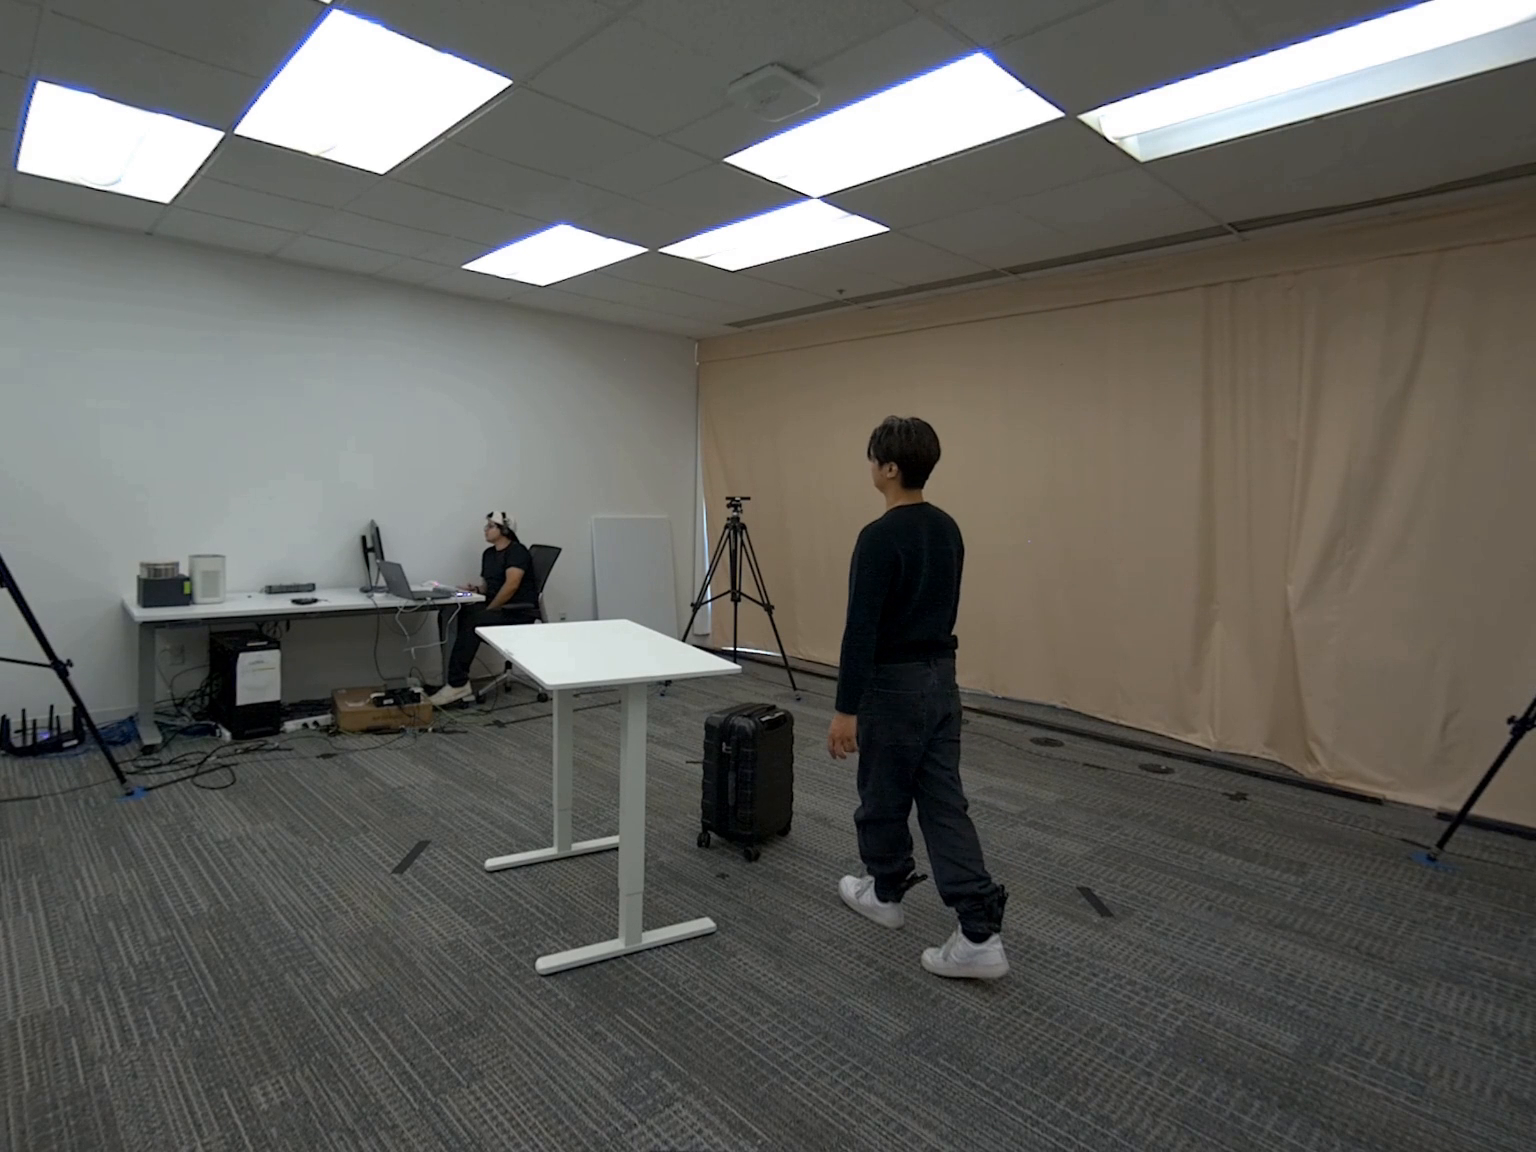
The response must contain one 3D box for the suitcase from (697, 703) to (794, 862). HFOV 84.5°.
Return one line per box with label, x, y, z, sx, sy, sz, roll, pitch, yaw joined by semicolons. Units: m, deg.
suitcase;-0.086;0.801;3.425;0.254;0.548;0.367;3;4;34
